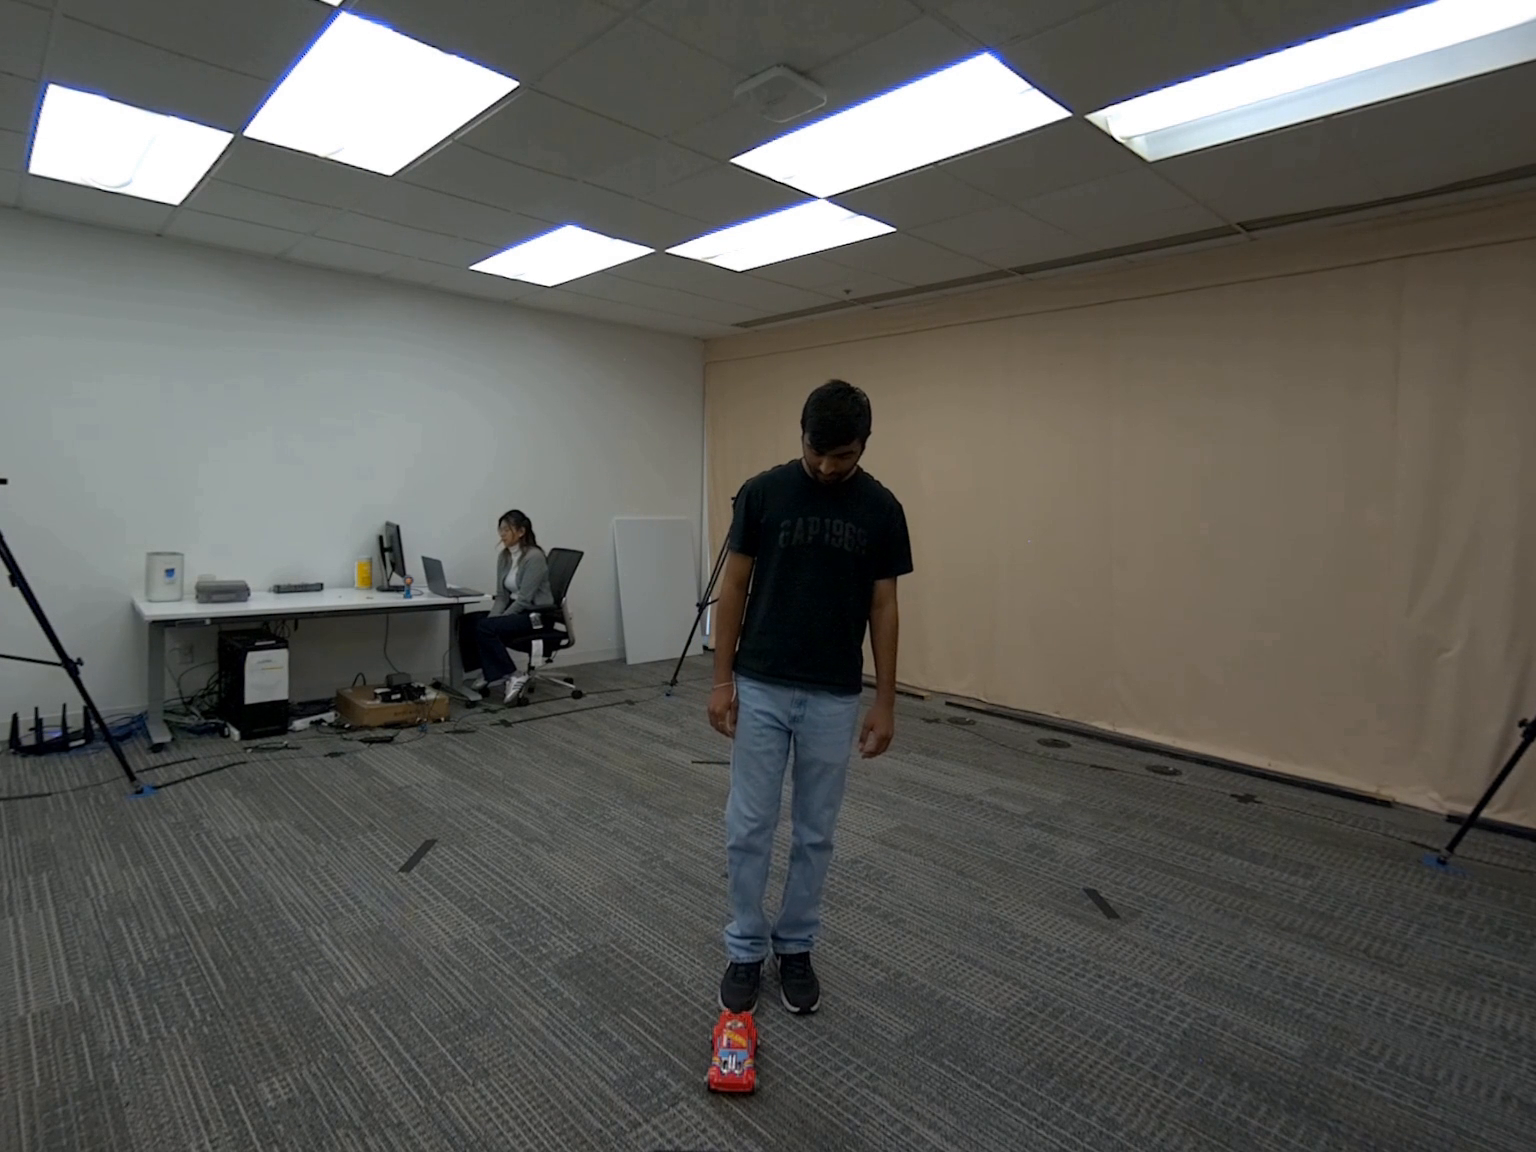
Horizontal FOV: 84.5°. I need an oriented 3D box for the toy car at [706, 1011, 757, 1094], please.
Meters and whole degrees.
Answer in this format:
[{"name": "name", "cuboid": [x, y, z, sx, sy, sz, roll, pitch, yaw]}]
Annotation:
[{"name": "toy car", "cuboid": [-0.096, 1.175, 2.068, 0.131, 0.082, 0.256, 2, 17, 3]}]
